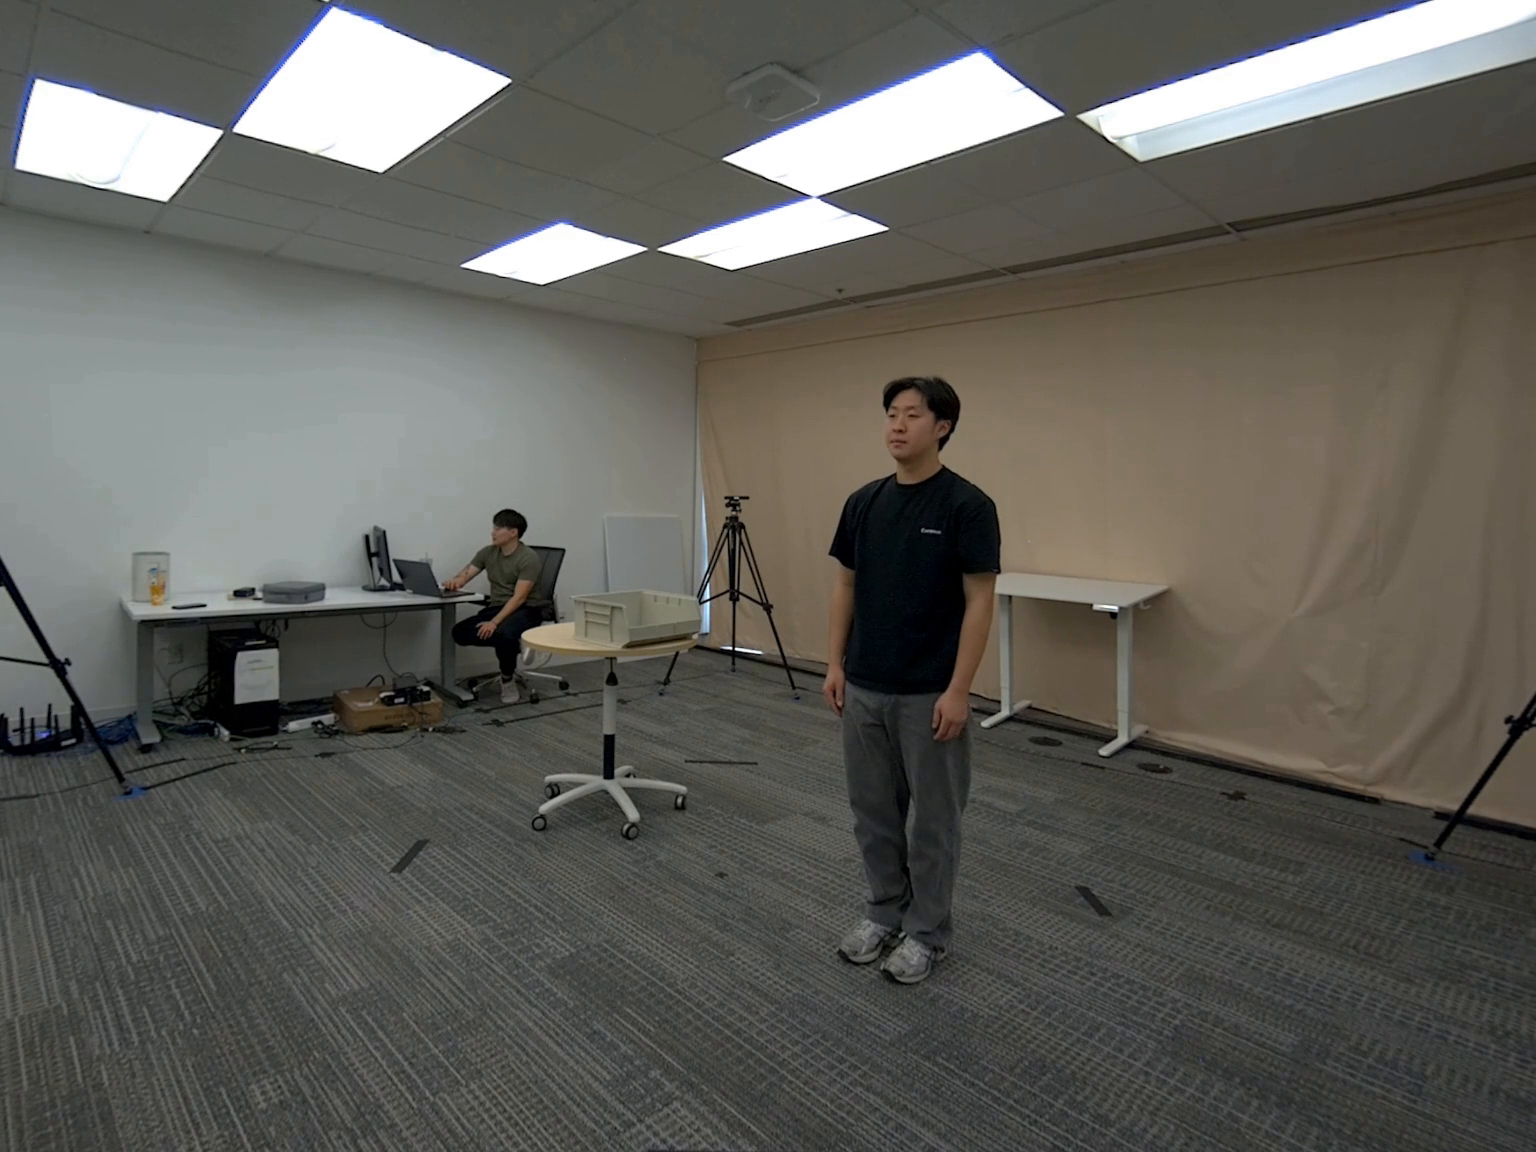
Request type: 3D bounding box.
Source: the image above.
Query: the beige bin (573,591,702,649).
[{"bbox_3d":[-0.565,0.182,3.582,0.387,0.188,0.413,5,7,40],"label":"beige bin"}]
